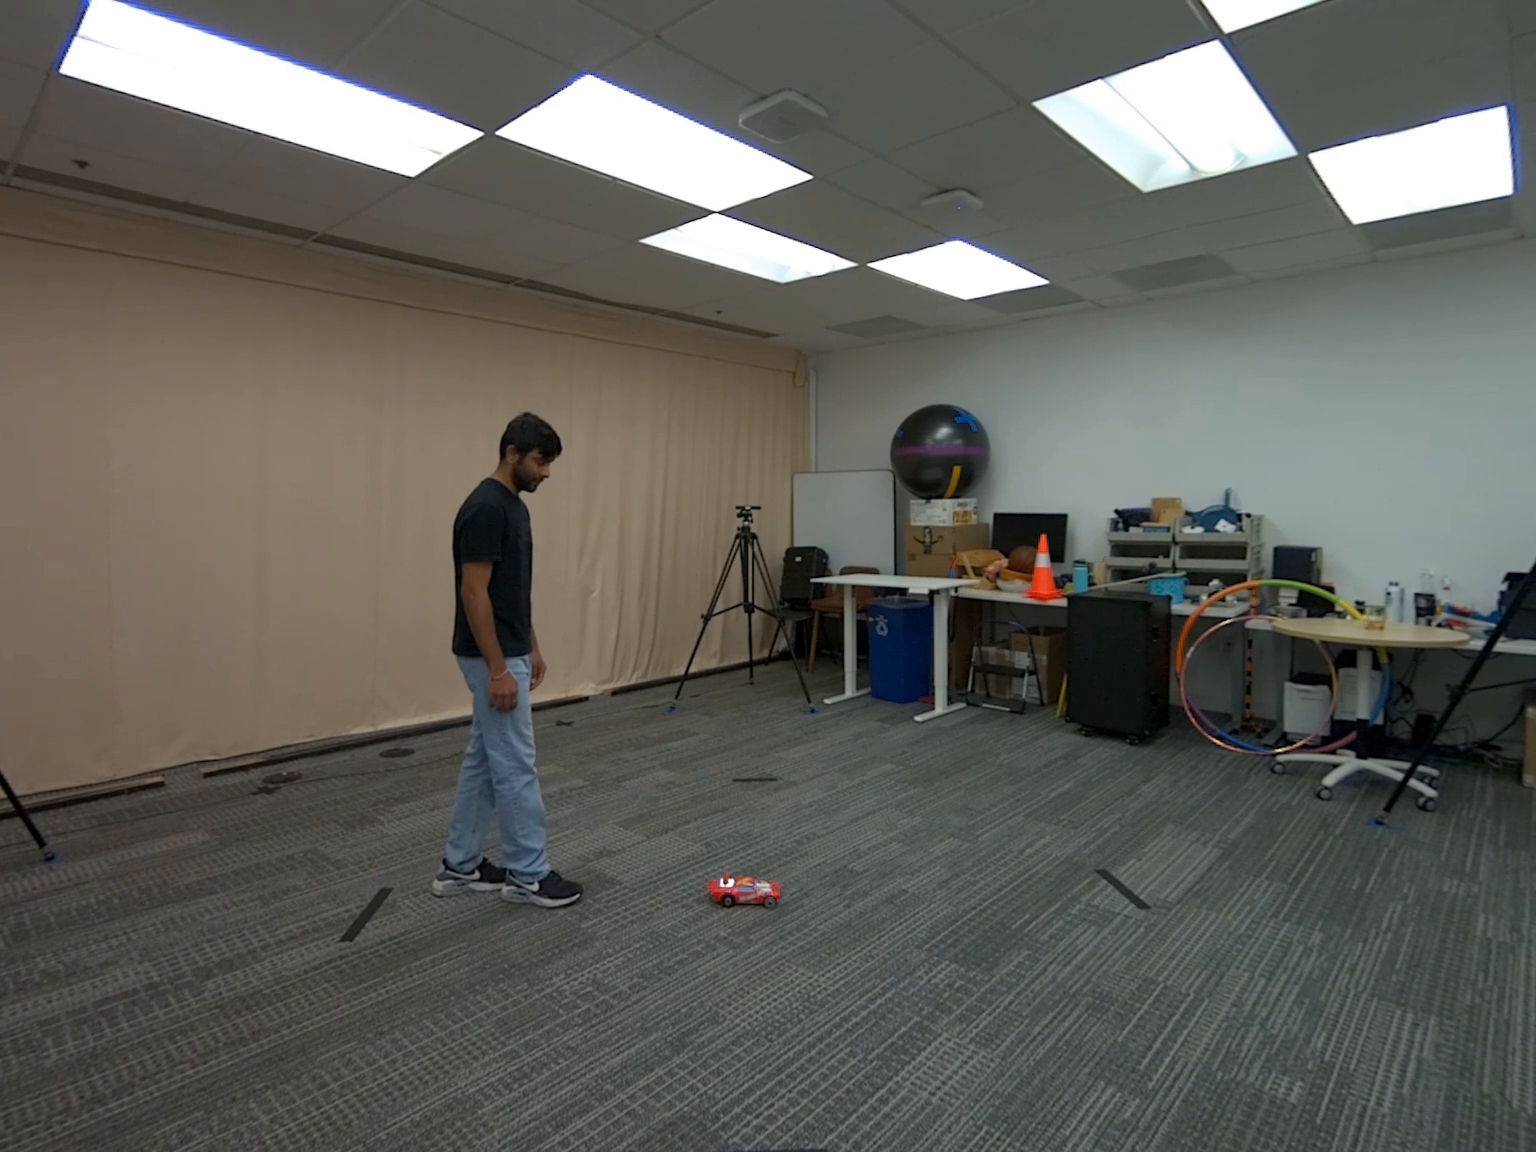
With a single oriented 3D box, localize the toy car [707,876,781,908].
[{"bbox_3d":[-0.085,1.116,2.961,0.255,0.083,0.130,11,4,2],"label":"toy car"}]
